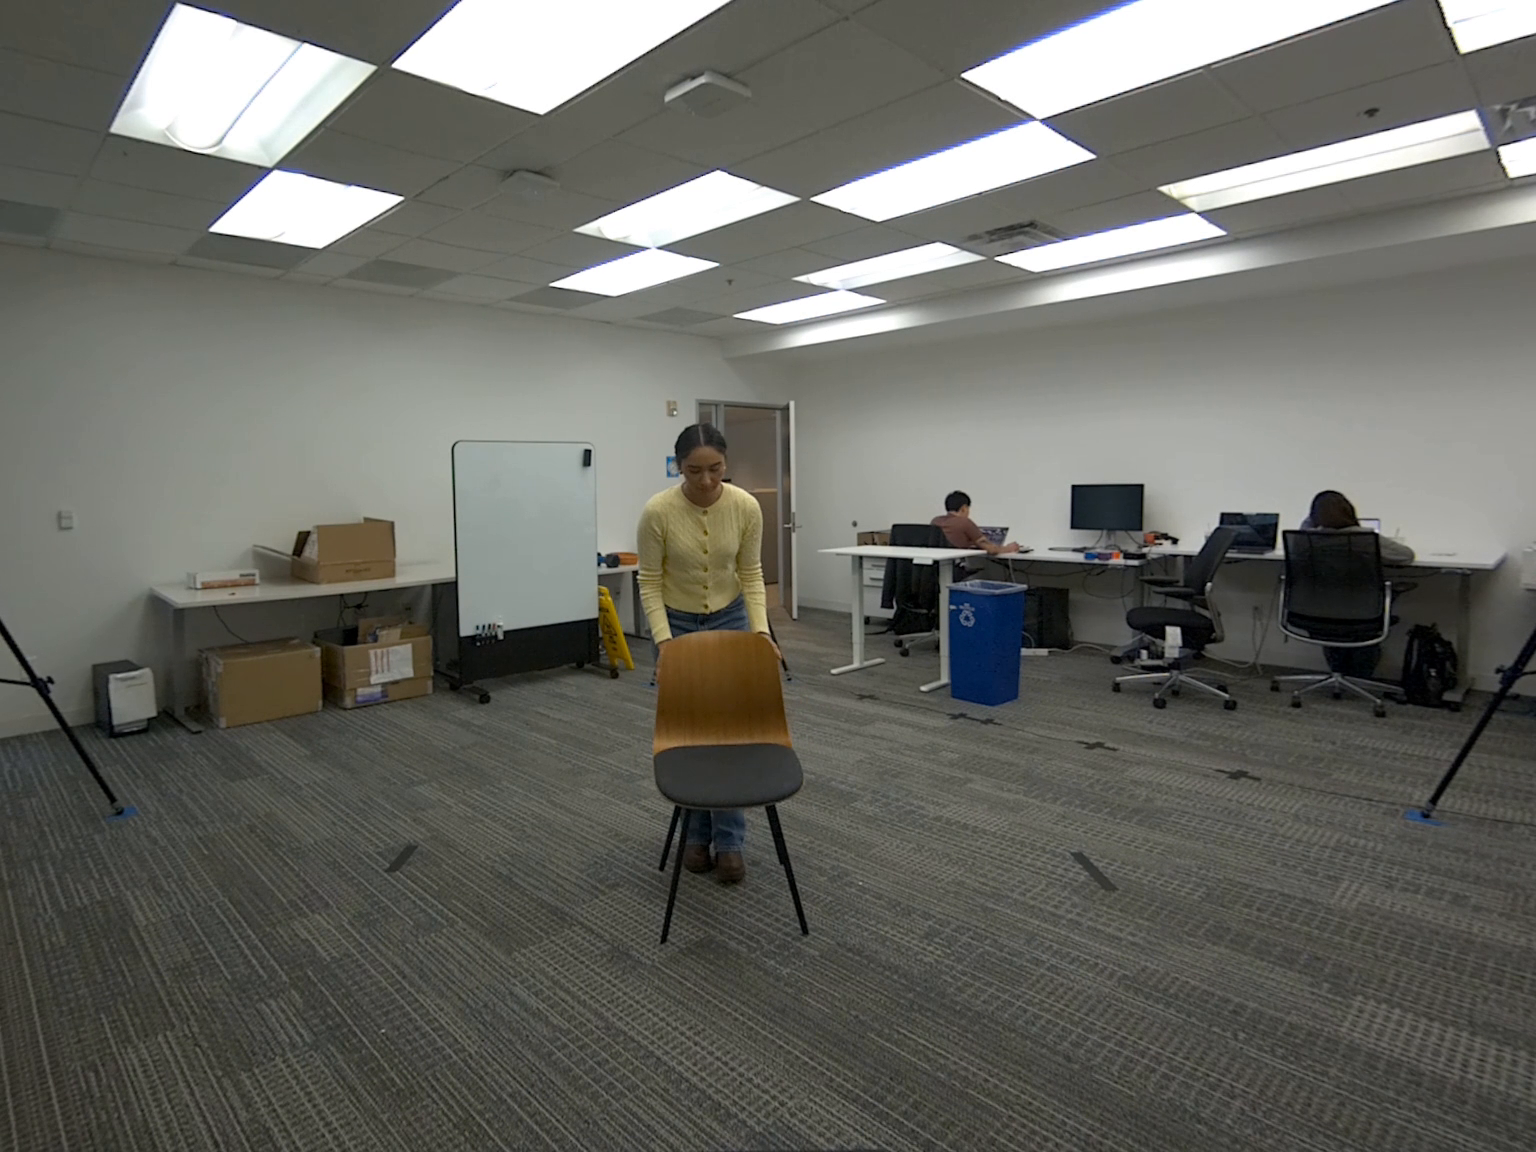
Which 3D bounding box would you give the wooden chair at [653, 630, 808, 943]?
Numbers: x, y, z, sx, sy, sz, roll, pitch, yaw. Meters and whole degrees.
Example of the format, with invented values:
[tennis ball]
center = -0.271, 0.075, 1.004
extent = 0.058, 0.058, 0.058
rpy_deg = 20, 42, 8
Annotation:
[wooden chair]
center = -0.134, 0.653, 2.751
extent = 0.475, 0.876, 0.527
rpy_deg = -1, 2, -7
